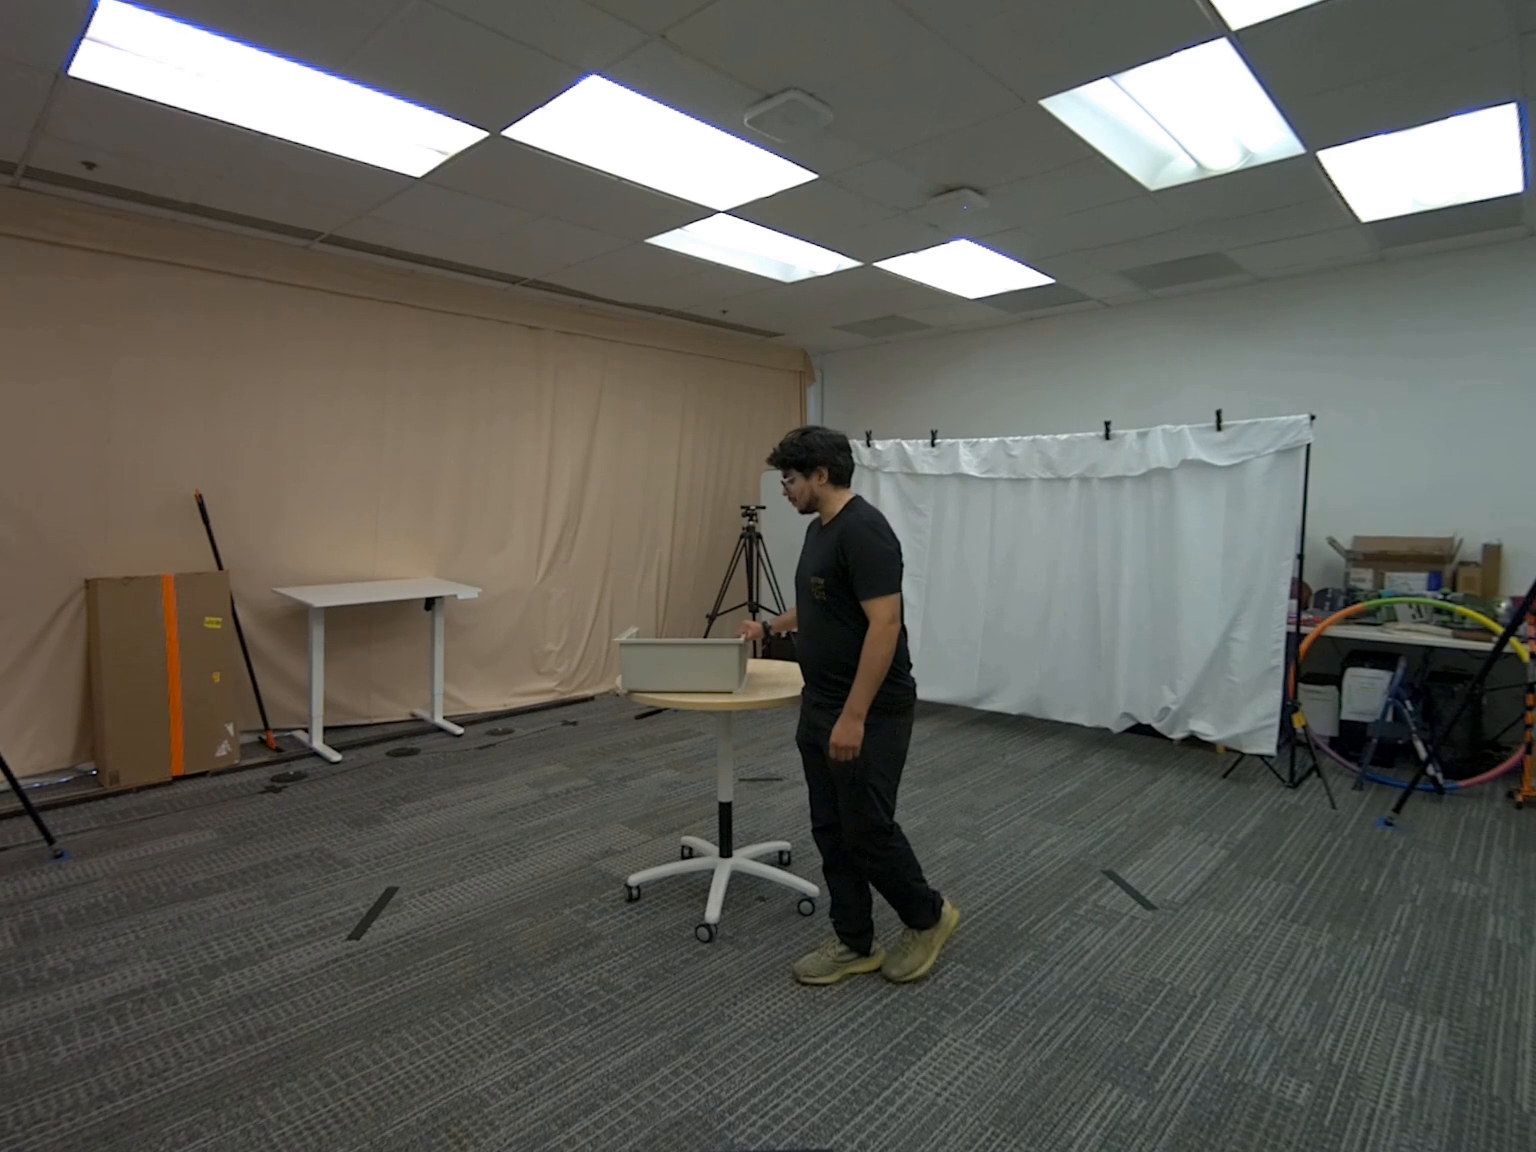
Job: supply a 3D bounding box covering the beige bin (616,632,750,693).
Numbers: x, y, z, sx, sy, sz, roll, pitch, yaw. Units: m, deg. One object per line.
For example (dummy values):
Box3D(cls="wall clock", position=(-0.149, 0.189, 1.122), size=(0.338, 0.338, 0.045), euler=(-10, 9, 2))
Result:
Box3D(cls="beige bin", position=(-0.277, 0.281, 2.904), size=(0.425, 0.188, 0.376), euler=(-1, 5, 6))
